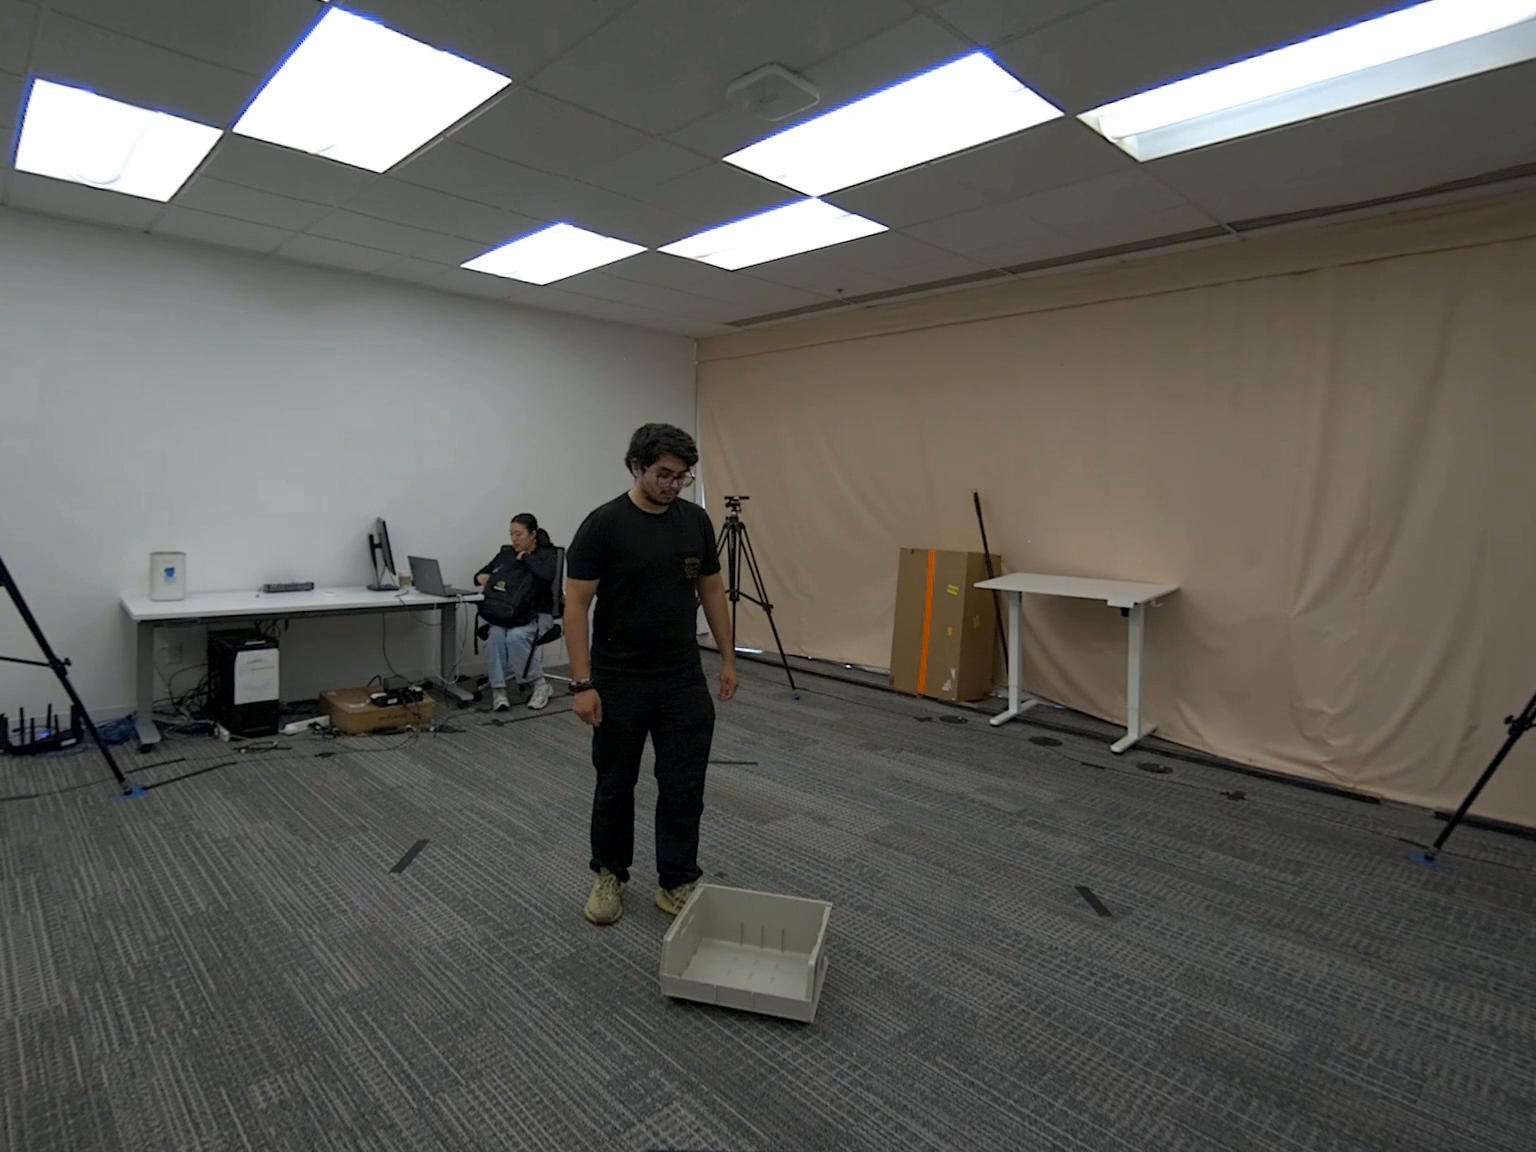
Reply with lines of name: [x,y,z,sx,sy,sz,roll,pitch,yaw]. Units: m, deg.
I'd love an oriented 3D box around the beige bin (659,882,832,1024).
beige bin: [-0.052,1.090,2.399,0.427,0.188,0.374,2,4,13]
